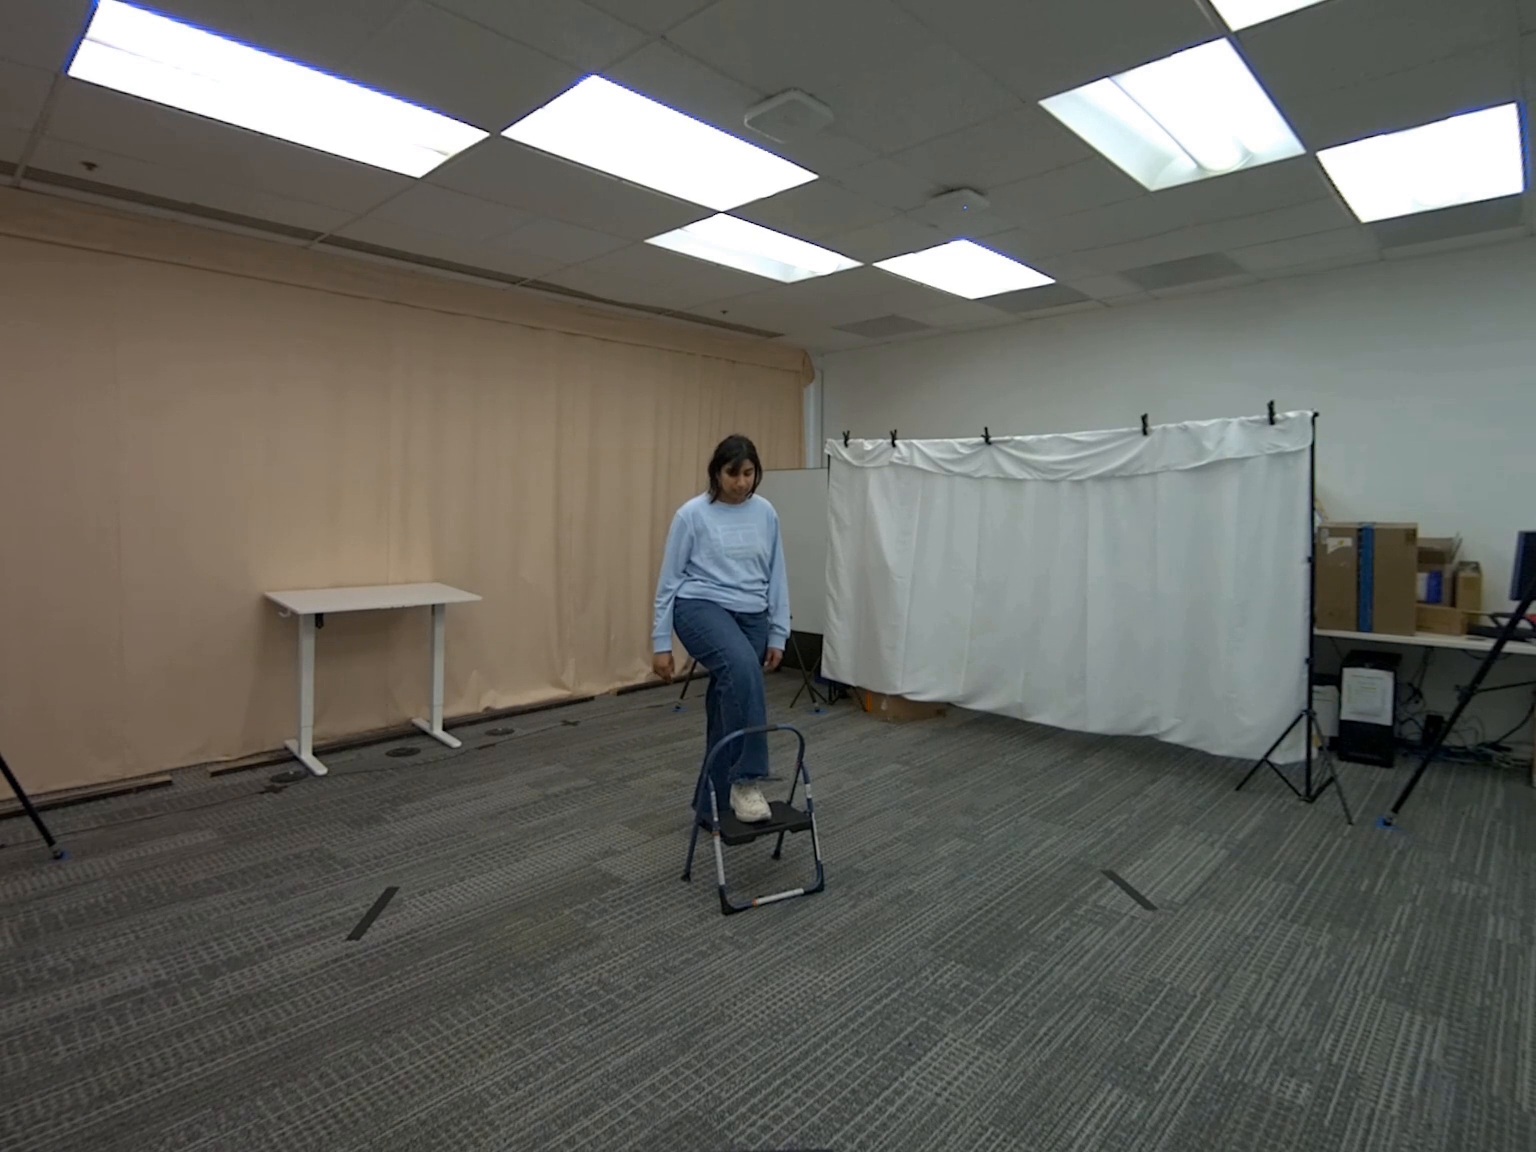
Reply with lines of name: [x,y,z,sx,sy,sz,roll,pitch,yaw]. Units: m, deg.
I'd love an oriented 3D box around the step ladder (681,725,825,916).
step ladder: [-0.054,0.834,3.083,0.419,0.605,0.359,-2,4,-30]
